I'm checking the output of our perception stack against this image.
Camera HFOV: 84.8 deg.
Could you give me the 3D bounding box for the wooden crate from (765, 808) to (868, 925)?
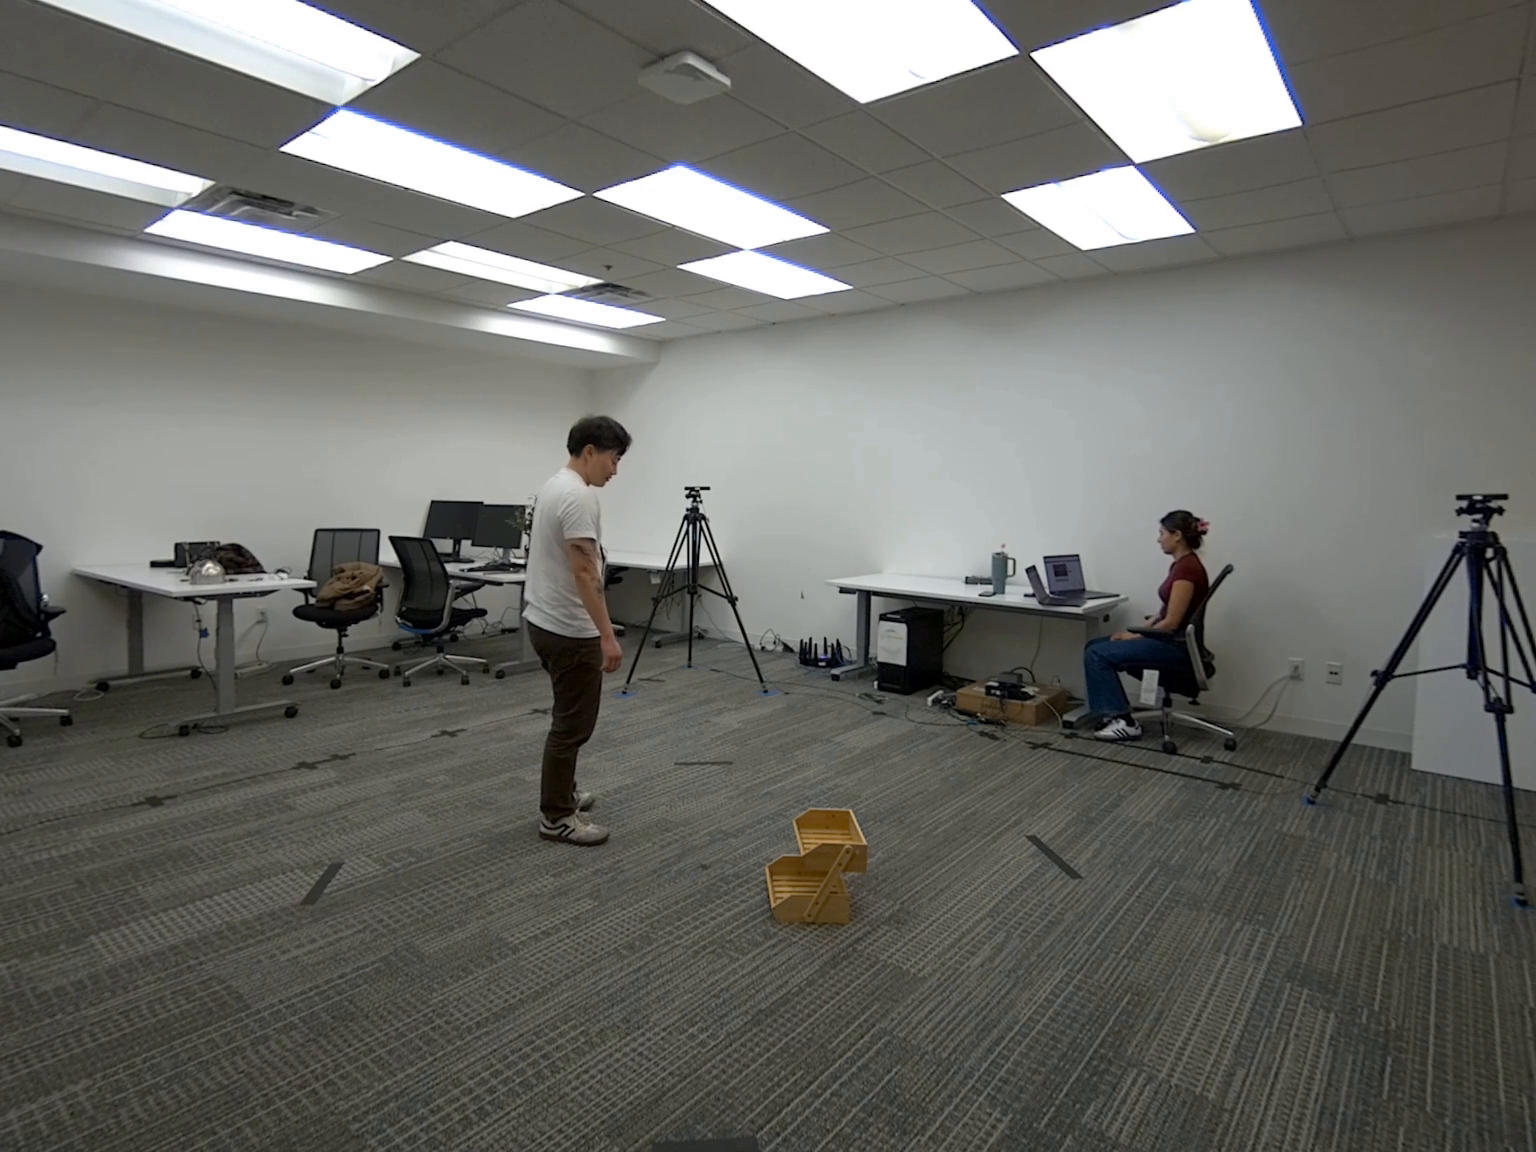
[{"bbox_3d":[0.145,0.961,2.867,0.301,0.272,0.326,1,4,-3],"label":"wooden crate"}]
